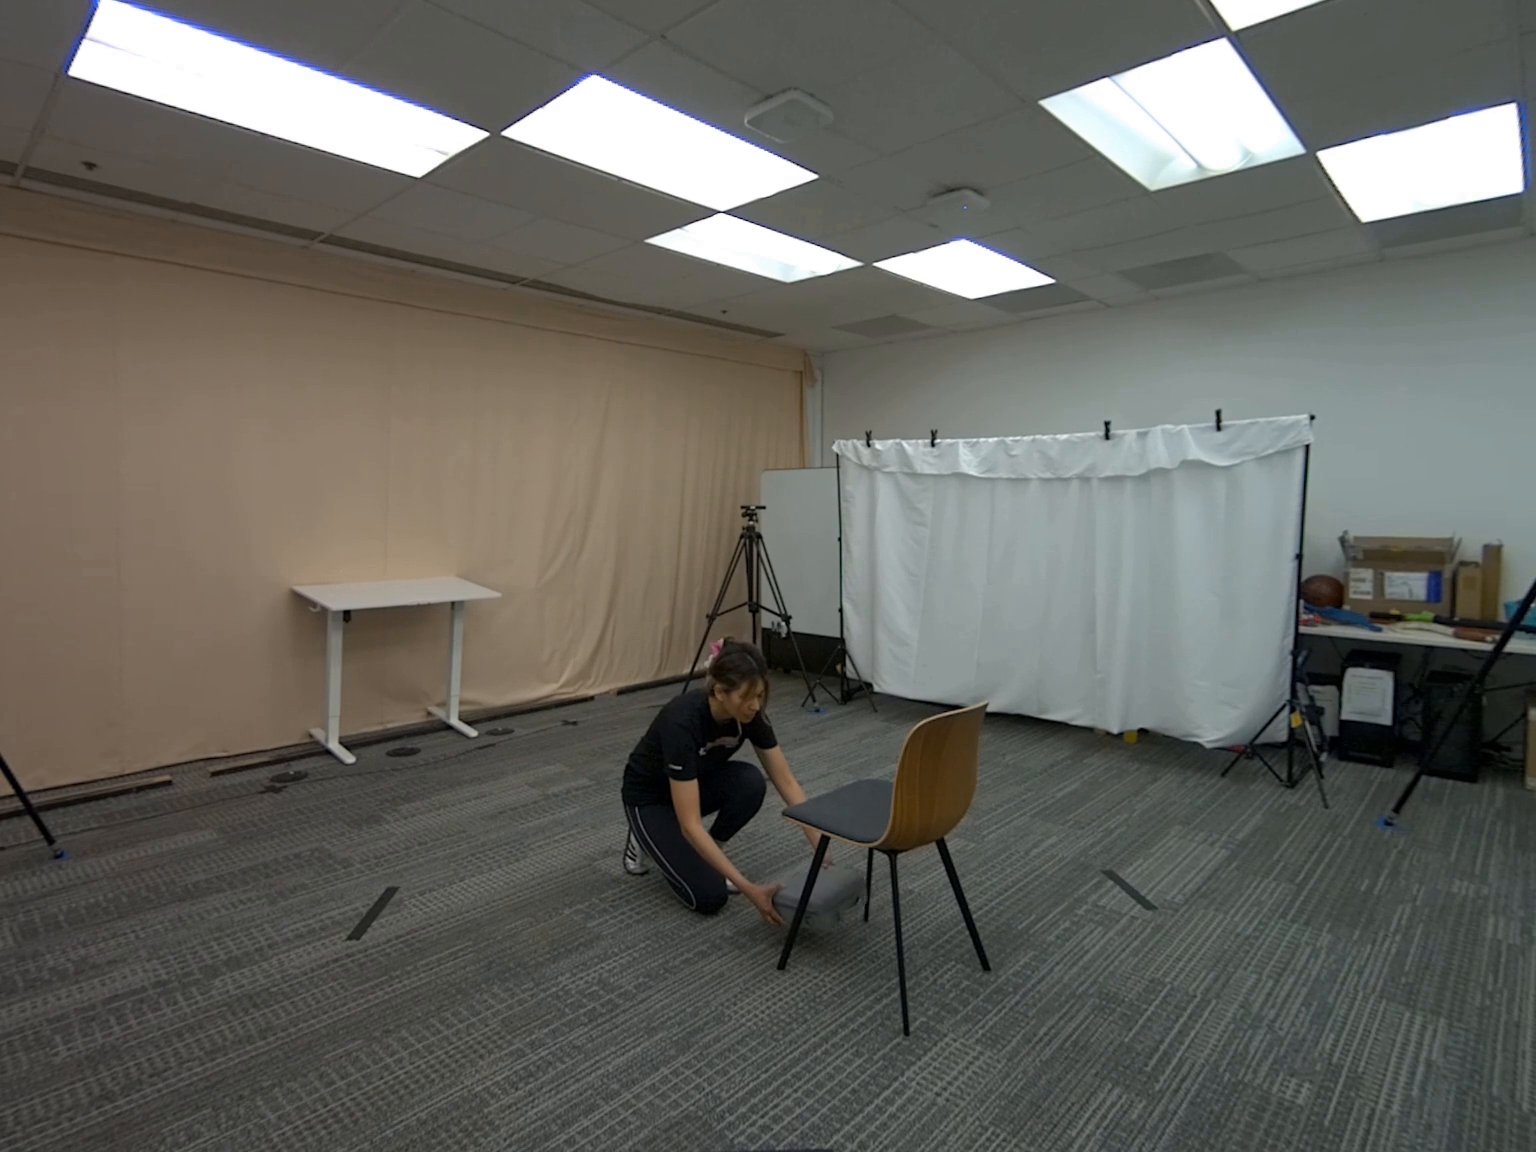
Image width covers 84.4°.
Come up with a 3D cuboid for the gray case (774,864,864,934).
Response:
[{"bbox_3d":[0.152,1.021,2.678,0.269,0.104,0.249,-3,5,41],"label":"gray case"}]
